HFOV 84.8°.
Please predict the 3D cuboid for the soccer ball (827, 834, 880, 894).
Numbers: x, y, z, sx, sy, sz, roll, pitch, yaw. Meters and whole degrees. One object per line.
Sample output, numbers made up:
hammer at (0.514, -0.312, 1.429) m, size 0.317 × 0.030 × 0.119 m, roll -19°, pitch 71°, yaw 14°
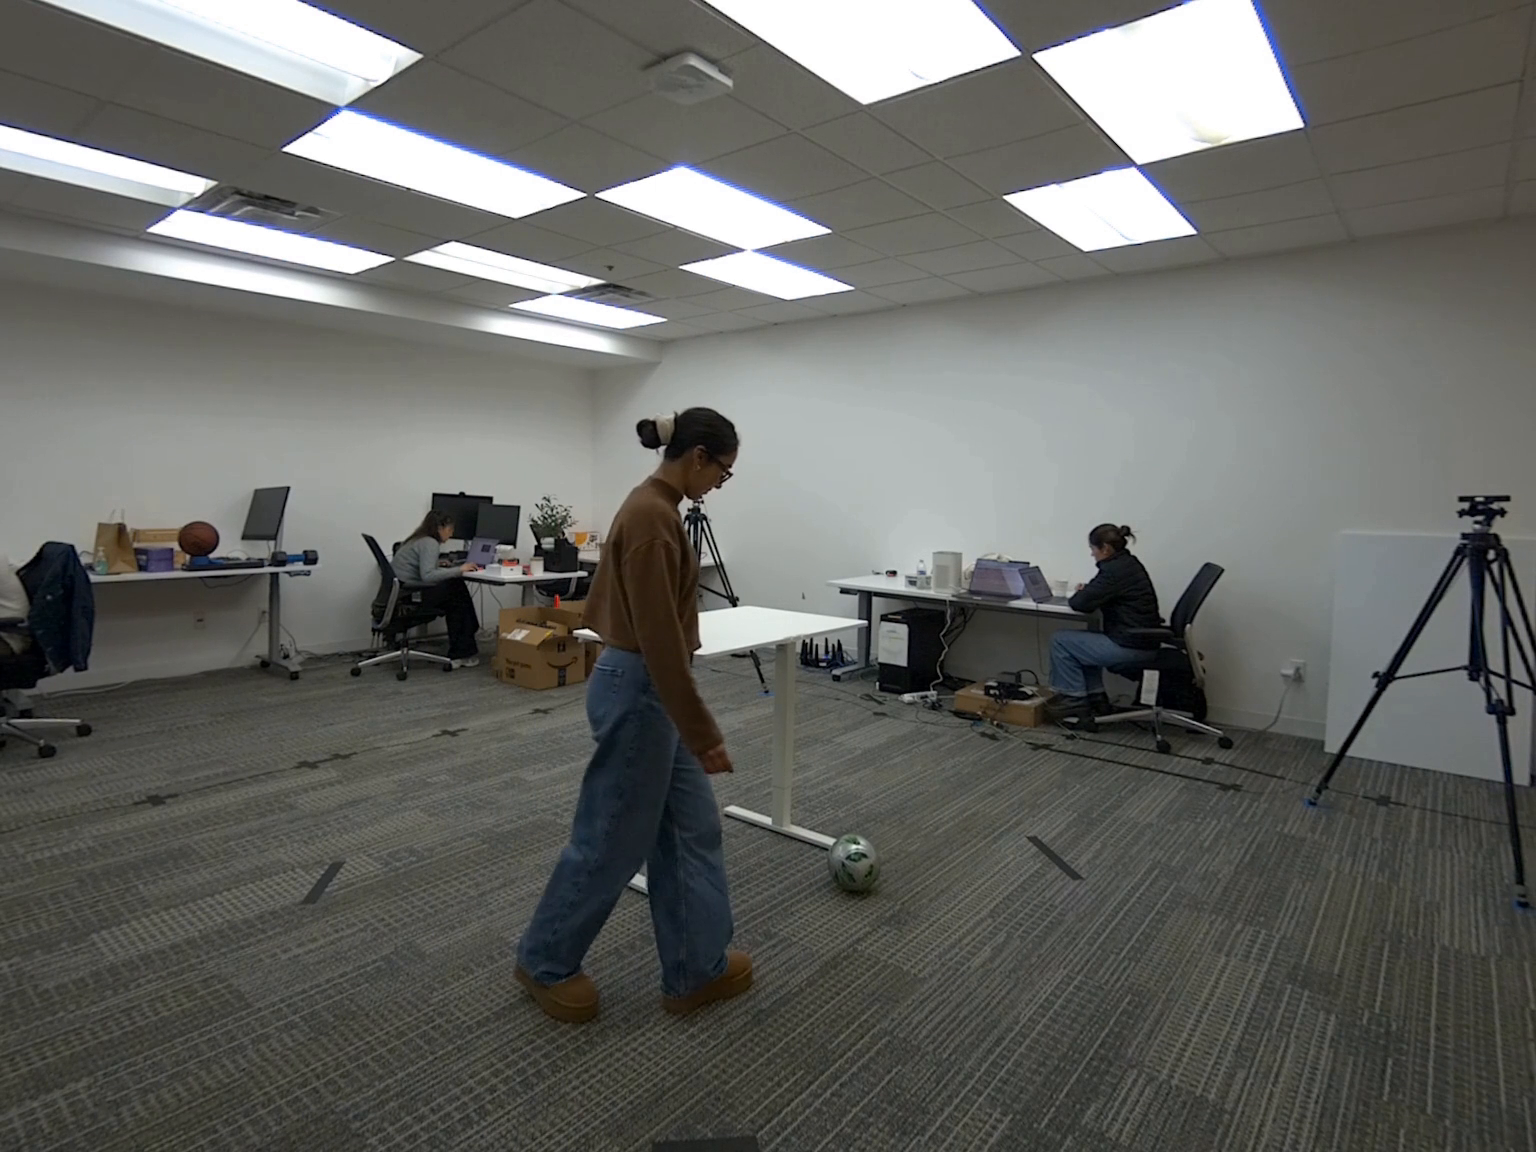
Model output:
soccer ball at (0.296, 0.999, 2.966) m, size 0.187 × 0.187 × 0.188 m, roll 1°, pitch 4°, yaw -2°
